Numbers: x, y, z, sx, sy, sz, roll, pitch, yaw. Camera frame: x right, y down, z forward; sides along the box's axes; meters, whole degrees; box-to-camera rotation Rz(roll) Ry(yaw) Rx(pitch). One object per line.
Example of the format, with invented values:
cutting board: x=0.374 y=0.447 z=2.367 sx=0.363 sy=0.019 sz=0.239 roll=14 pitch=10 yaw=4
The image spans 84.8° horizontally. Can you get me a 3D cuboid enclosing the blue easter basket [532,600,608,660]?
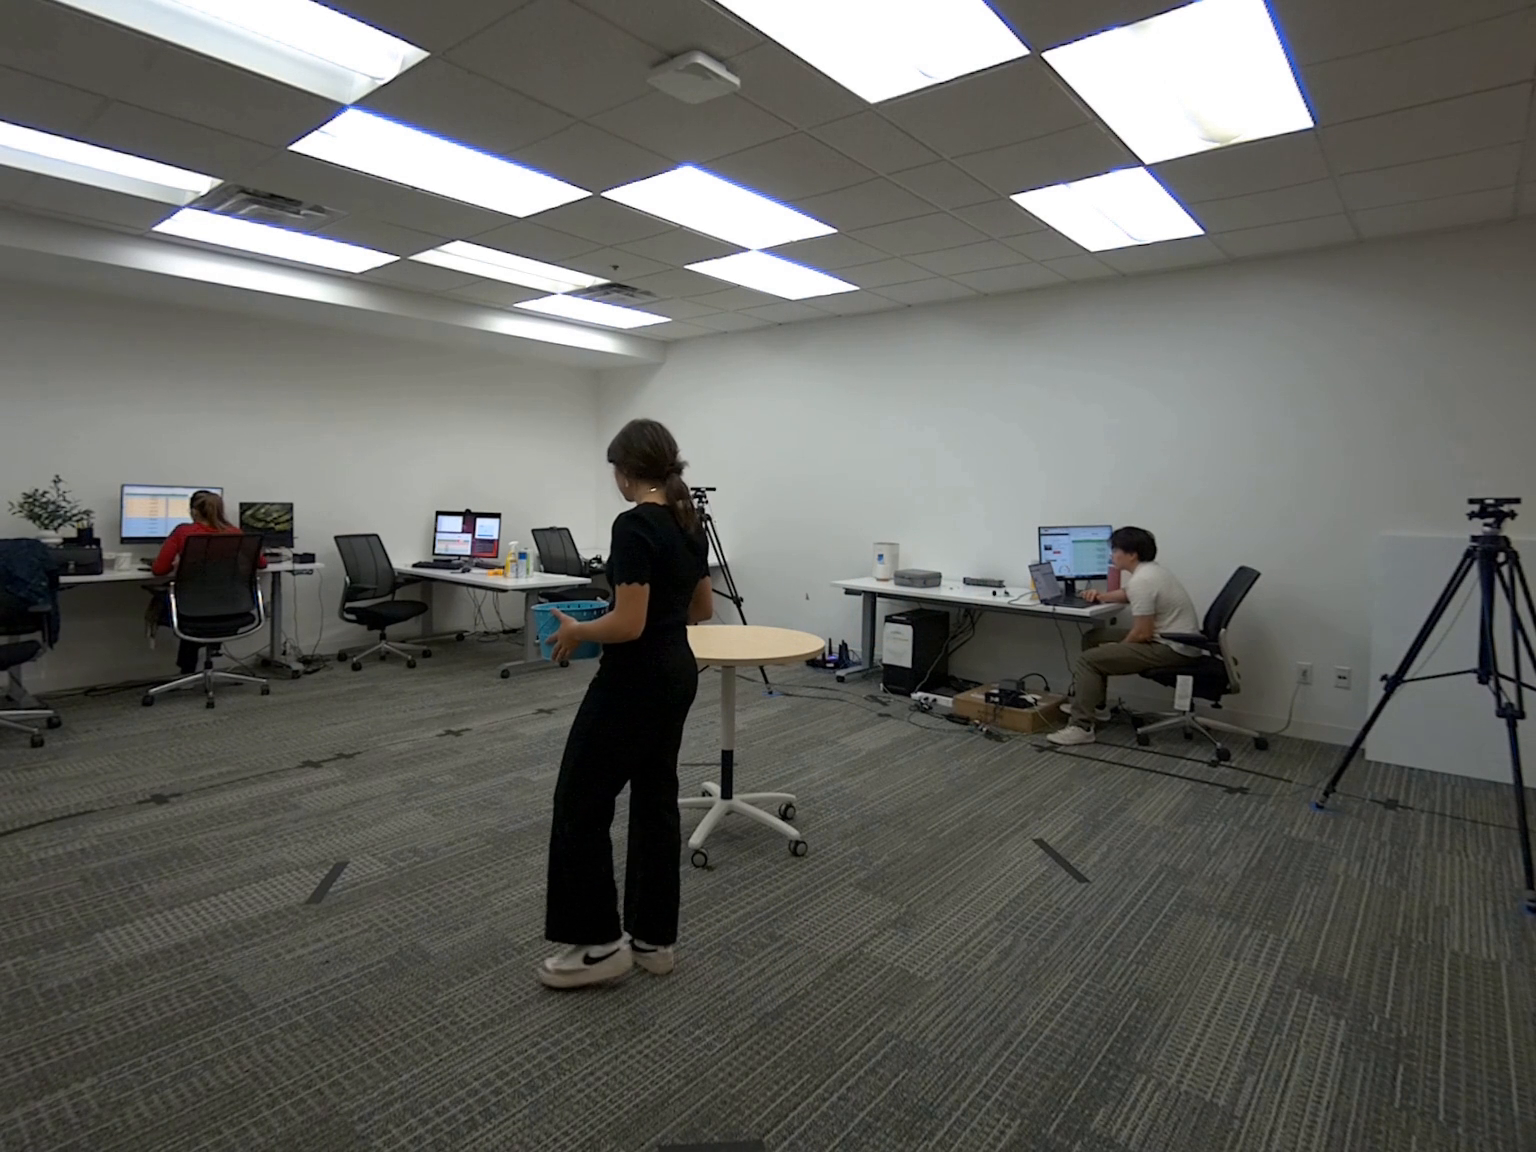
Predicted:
blue easter basket: x=-0.602 y=0.169 z=2.560 sx=0.243 sy=0.155 sz=0.246 roll=0 pitch=8 yaw=-2
